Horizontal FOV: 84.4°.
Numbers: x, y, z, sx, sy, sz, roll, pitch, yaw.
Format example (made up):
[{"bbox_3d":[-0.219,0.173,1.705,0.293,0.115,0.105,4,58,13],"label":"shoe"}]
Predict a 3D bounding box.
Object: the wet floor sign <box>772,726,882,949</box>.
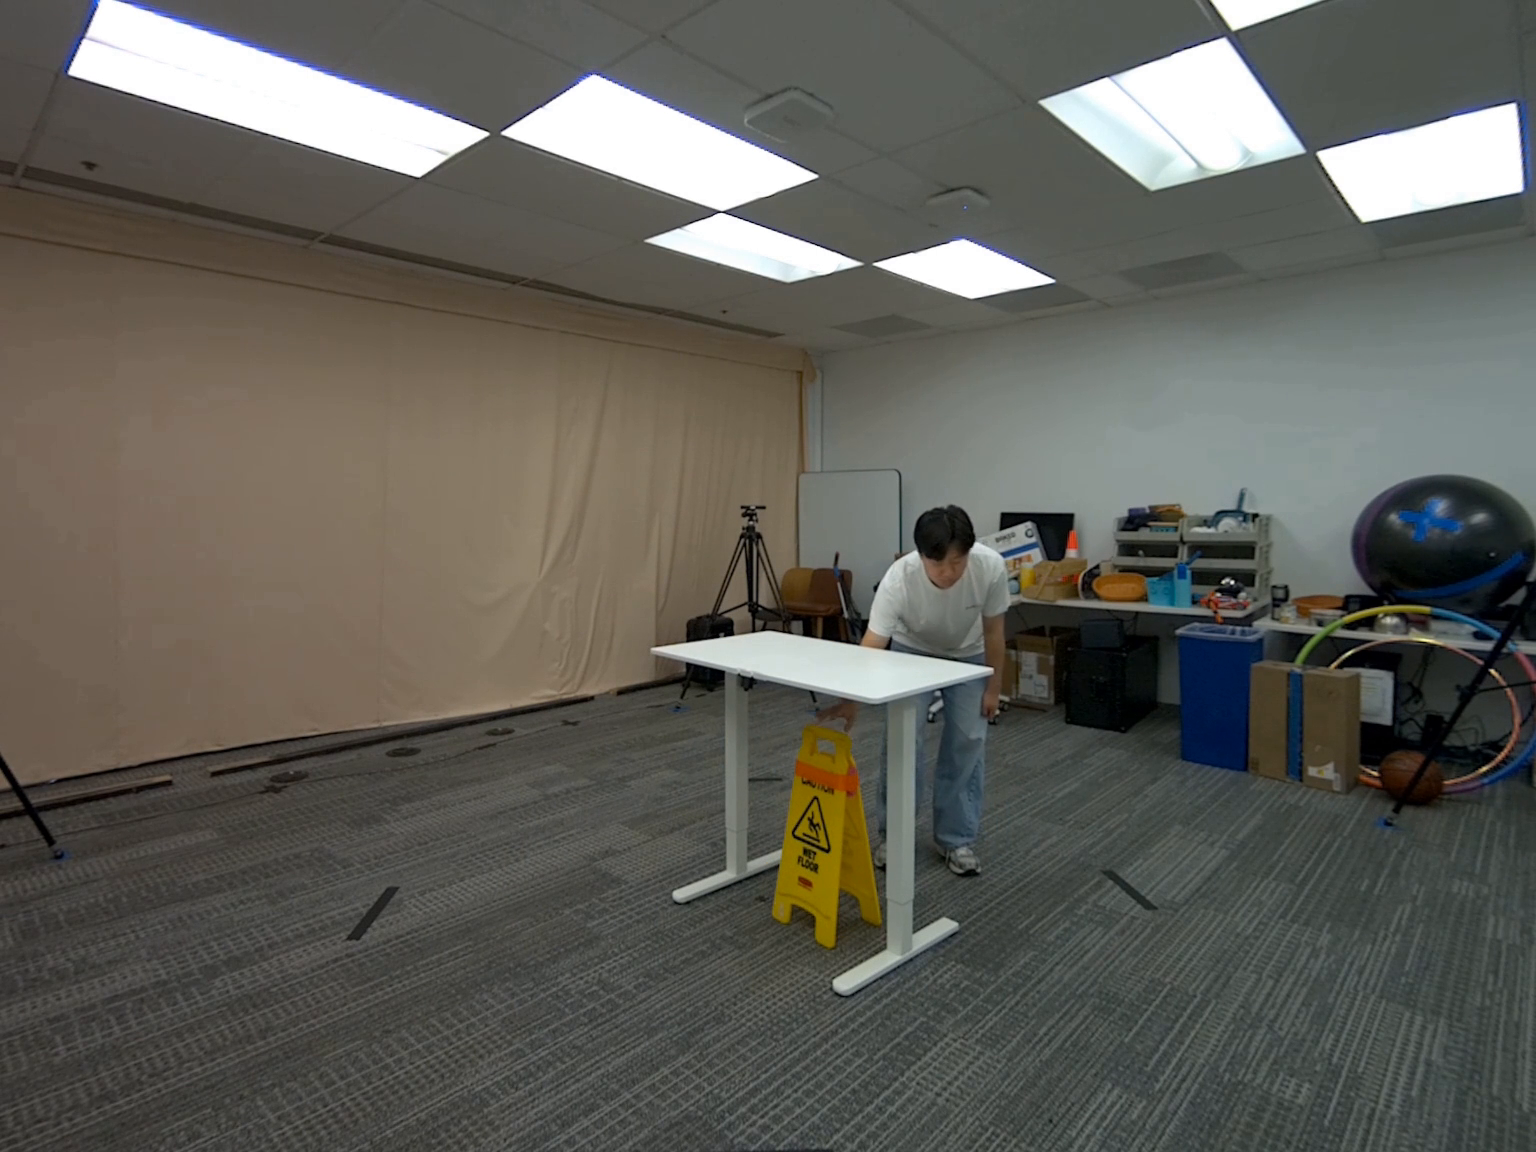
[{"bbox_3d":[0.197,0.833,2.799,0.281,0.645,0.291,-3,4,-40],"label":"wet floor sign"}]
